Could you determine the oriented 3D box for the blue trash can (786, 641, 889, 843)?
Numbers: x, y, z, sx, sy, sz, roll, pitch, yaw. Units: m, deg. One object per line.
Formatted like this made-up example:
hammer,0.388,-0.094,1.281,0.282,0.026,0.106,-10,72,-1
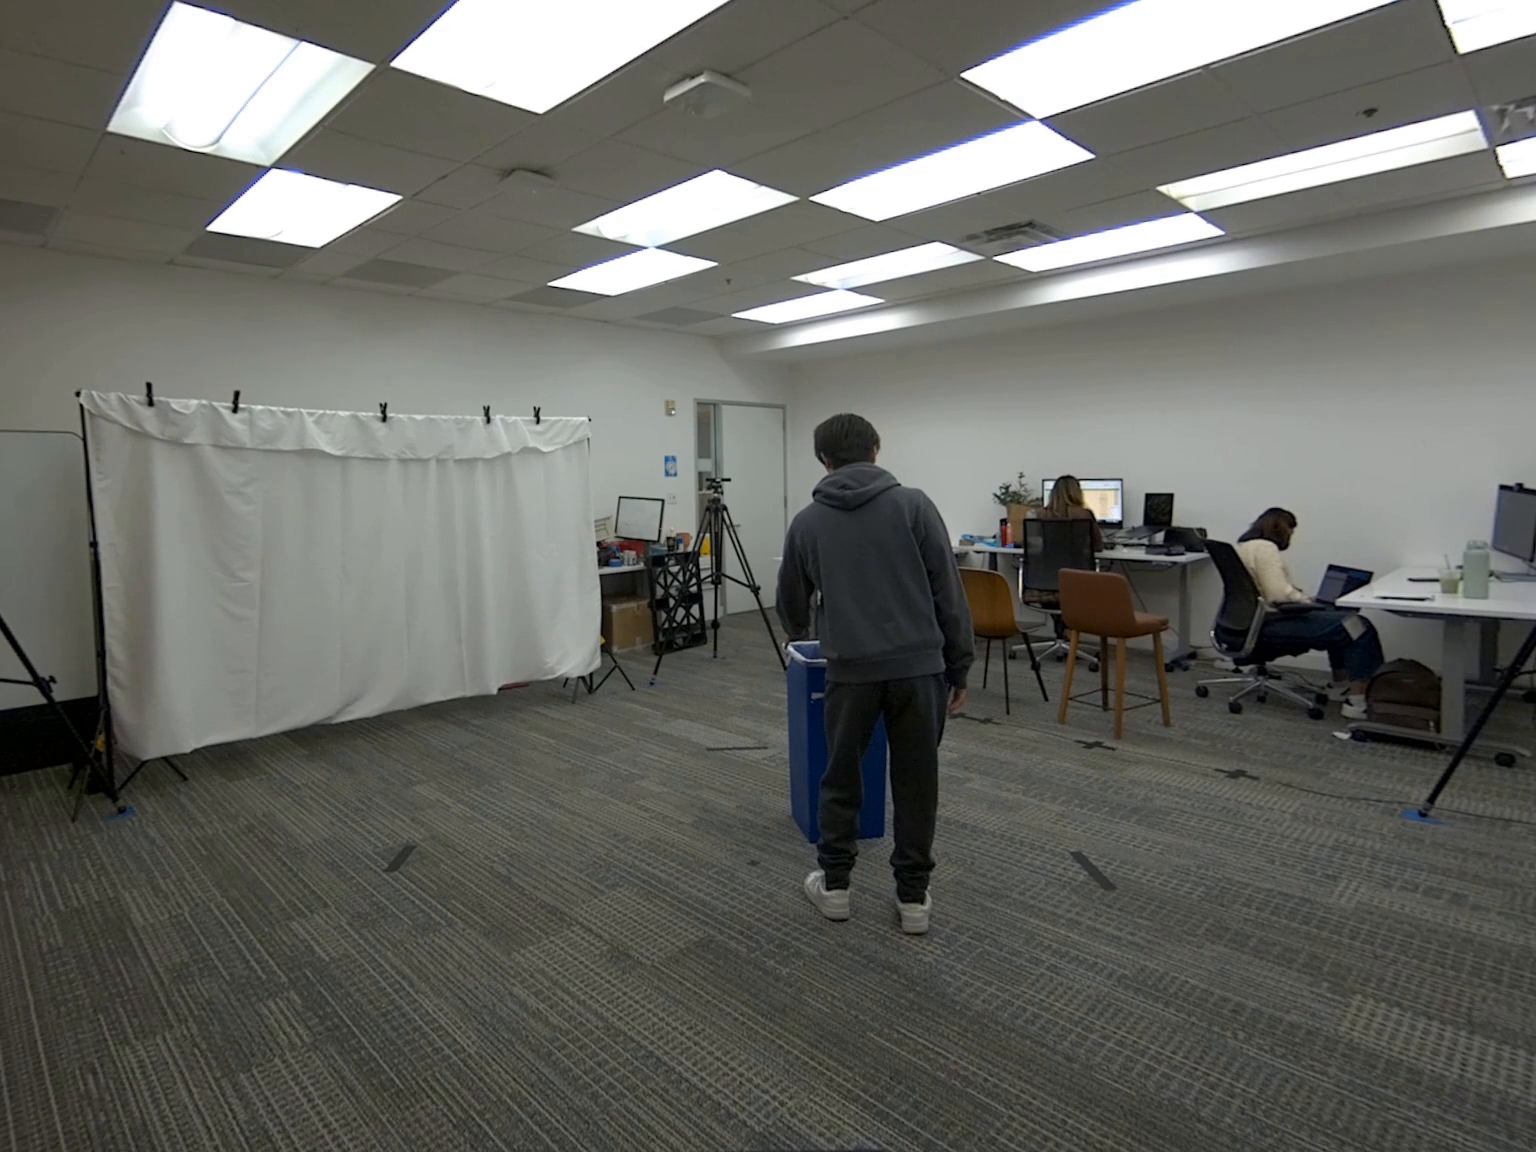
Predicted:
blue trash can,0.280,0.646,3.415,0.370,0.711,0.383,-1,4,-11
